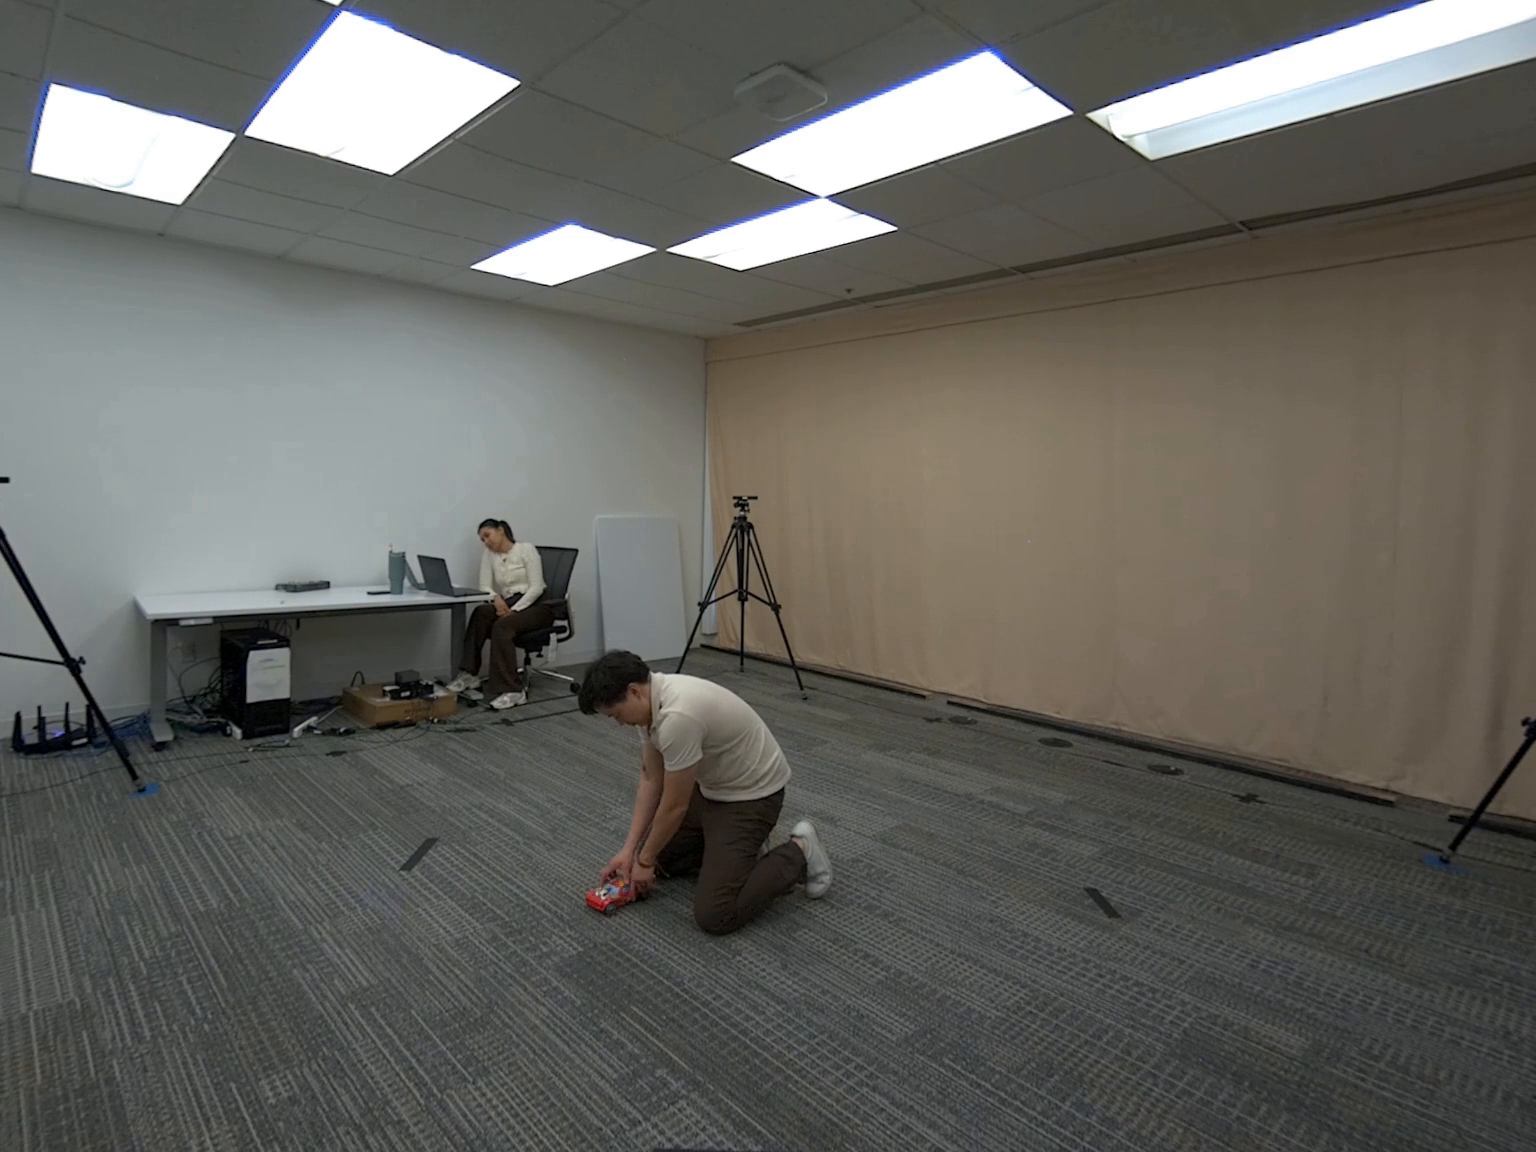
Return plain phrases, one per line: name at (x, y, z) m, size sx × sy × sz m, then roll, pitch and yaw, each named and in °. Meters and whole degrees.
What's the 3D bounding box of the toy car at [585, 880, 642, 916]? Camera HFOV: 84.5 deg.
toy car at (-0.507, 1.078, 2.889) m, size 0.133 × 0.082 × 0.250 m, roll 3°, pitch 16°, yaw 42°
